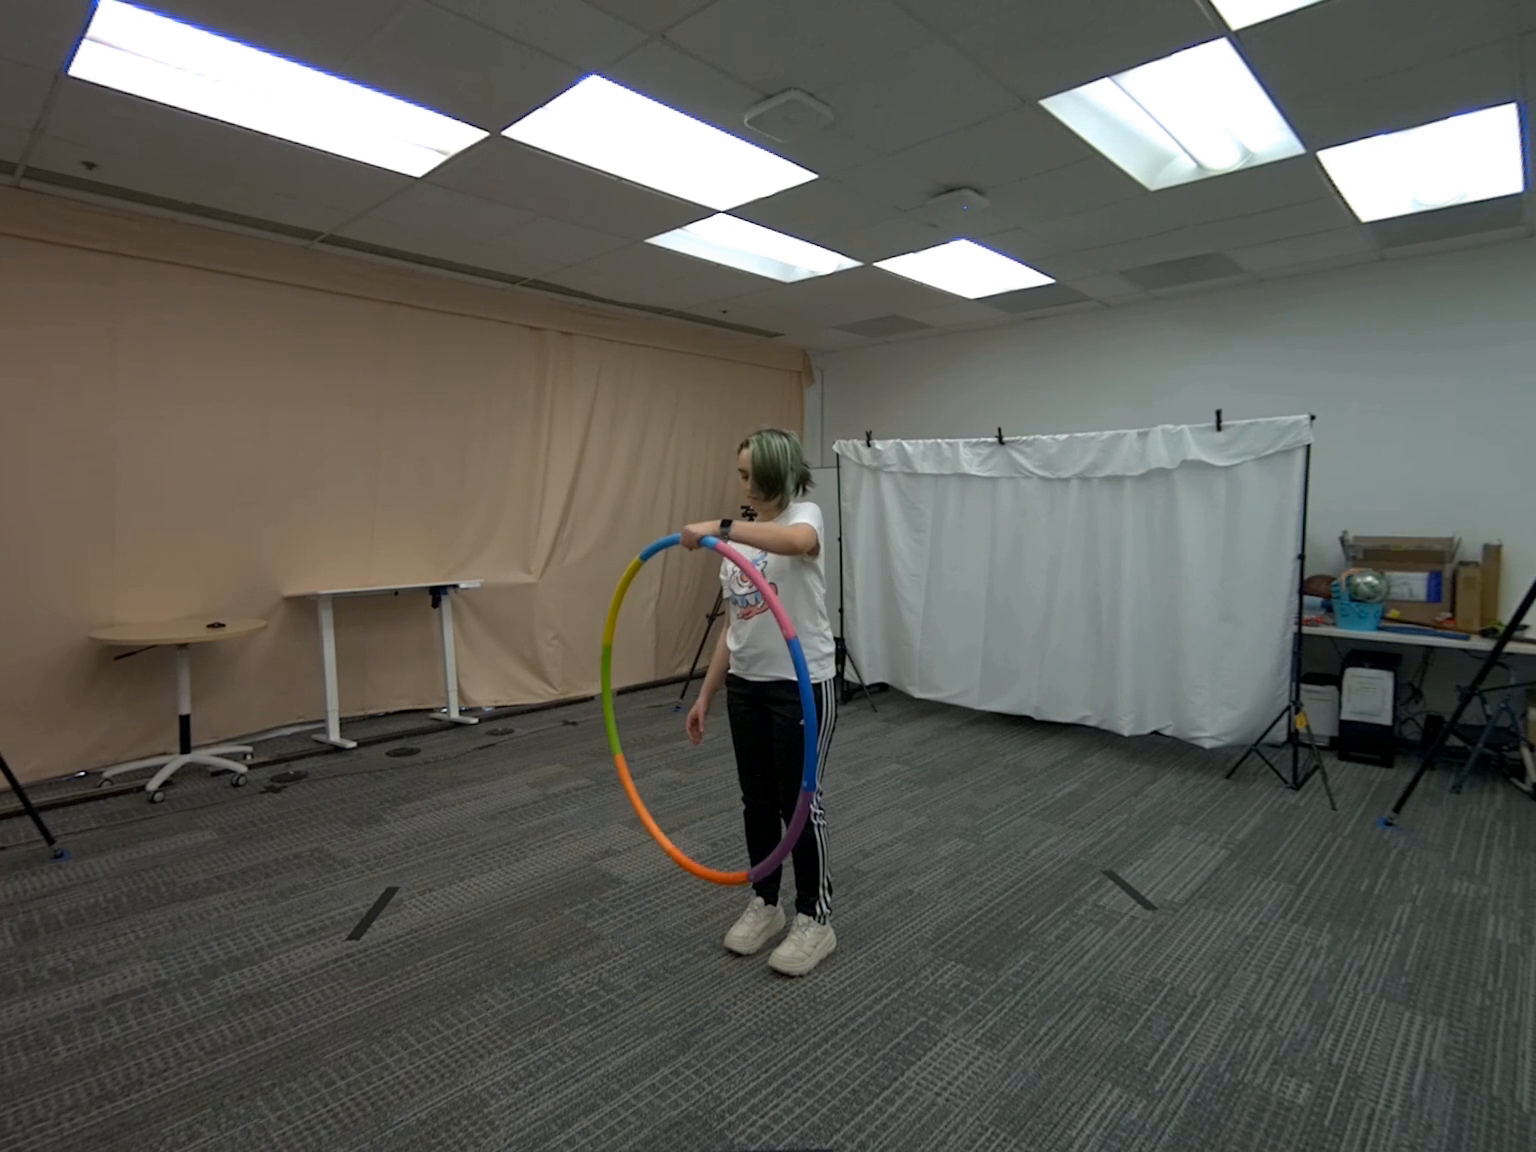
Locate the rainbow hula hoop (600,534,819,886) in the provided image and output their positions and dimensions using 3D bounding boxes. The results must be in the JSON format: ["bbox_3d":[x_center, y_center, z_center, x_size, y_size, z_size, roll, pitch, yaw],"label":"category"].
[{"bbox_3d":[-0.204,0.375,2.424,0.034,0.977,1.011,-2,4,-42],"label":"rainbow hula hoop"}]
